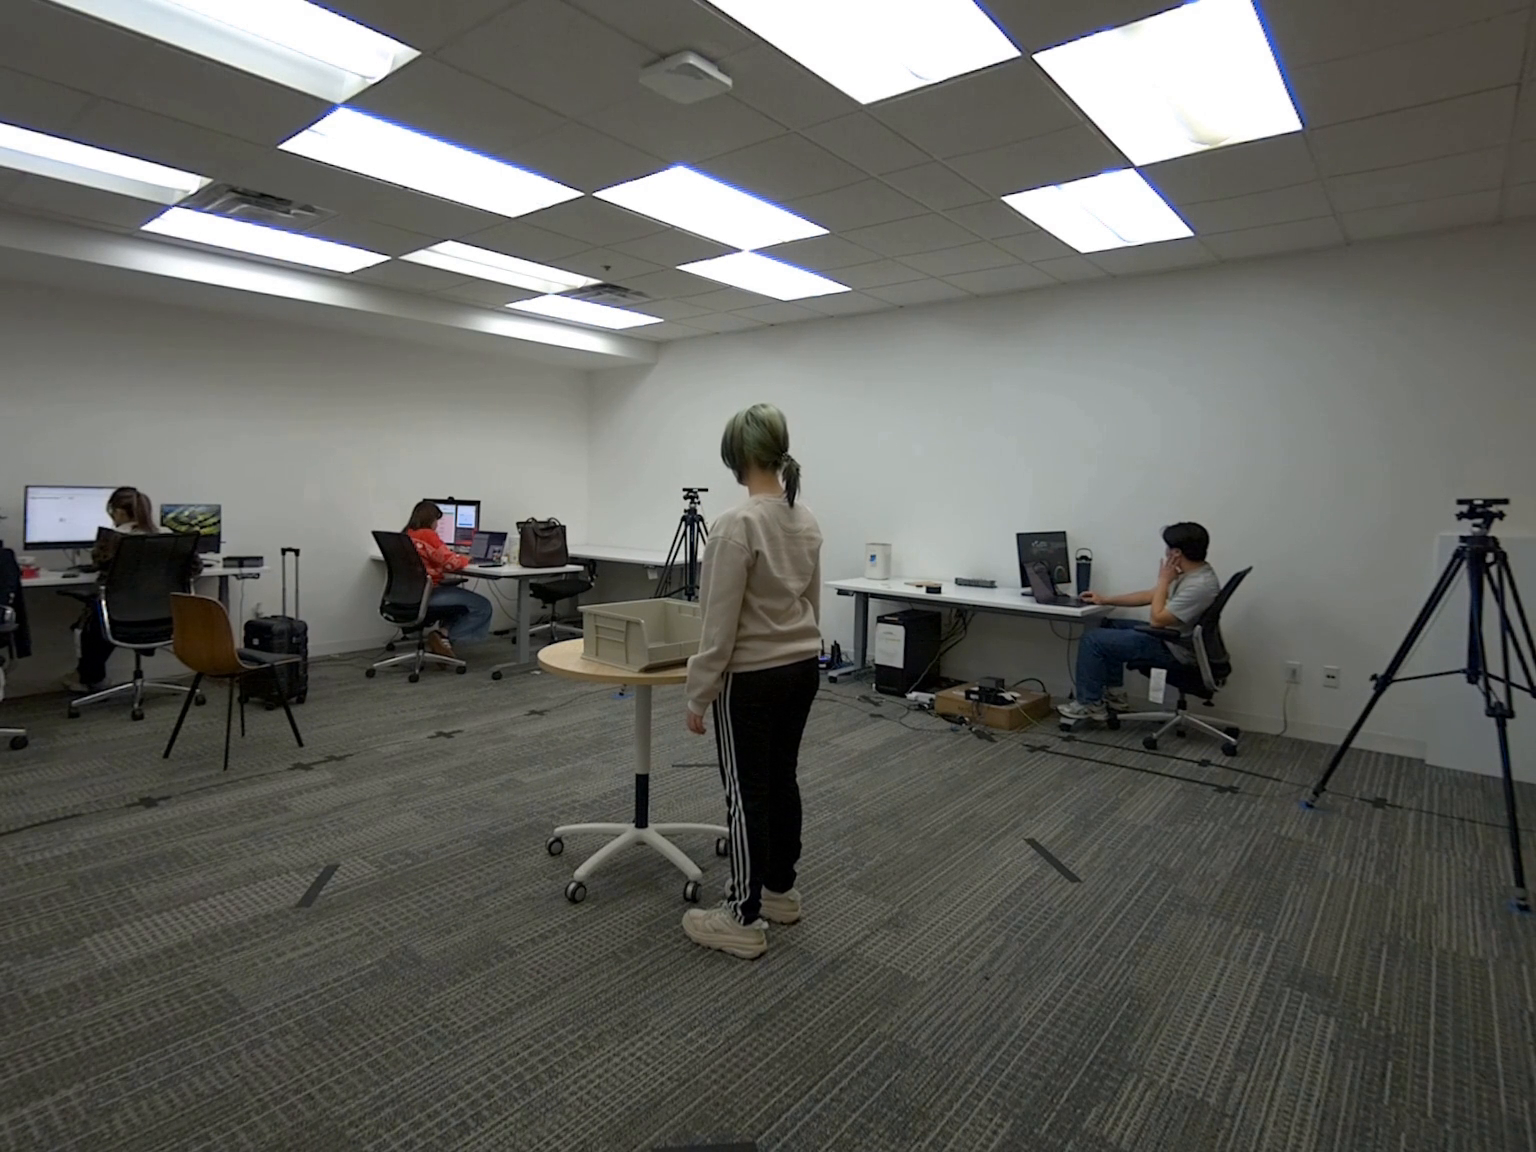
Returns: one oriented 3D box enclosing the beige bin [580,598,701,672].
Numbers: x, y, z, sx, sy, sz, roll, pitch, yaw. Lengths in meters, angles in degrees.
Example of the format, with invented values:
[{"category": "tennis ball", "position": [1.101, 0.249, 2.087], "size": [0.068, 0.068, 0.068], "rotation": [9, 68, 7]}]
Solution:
[{"category": "beige bin", "position": [-0.404, 0.203, 3.021], "size": [0.390, 0.188, 0.410], "rotation": [5, 6, 43]}]
